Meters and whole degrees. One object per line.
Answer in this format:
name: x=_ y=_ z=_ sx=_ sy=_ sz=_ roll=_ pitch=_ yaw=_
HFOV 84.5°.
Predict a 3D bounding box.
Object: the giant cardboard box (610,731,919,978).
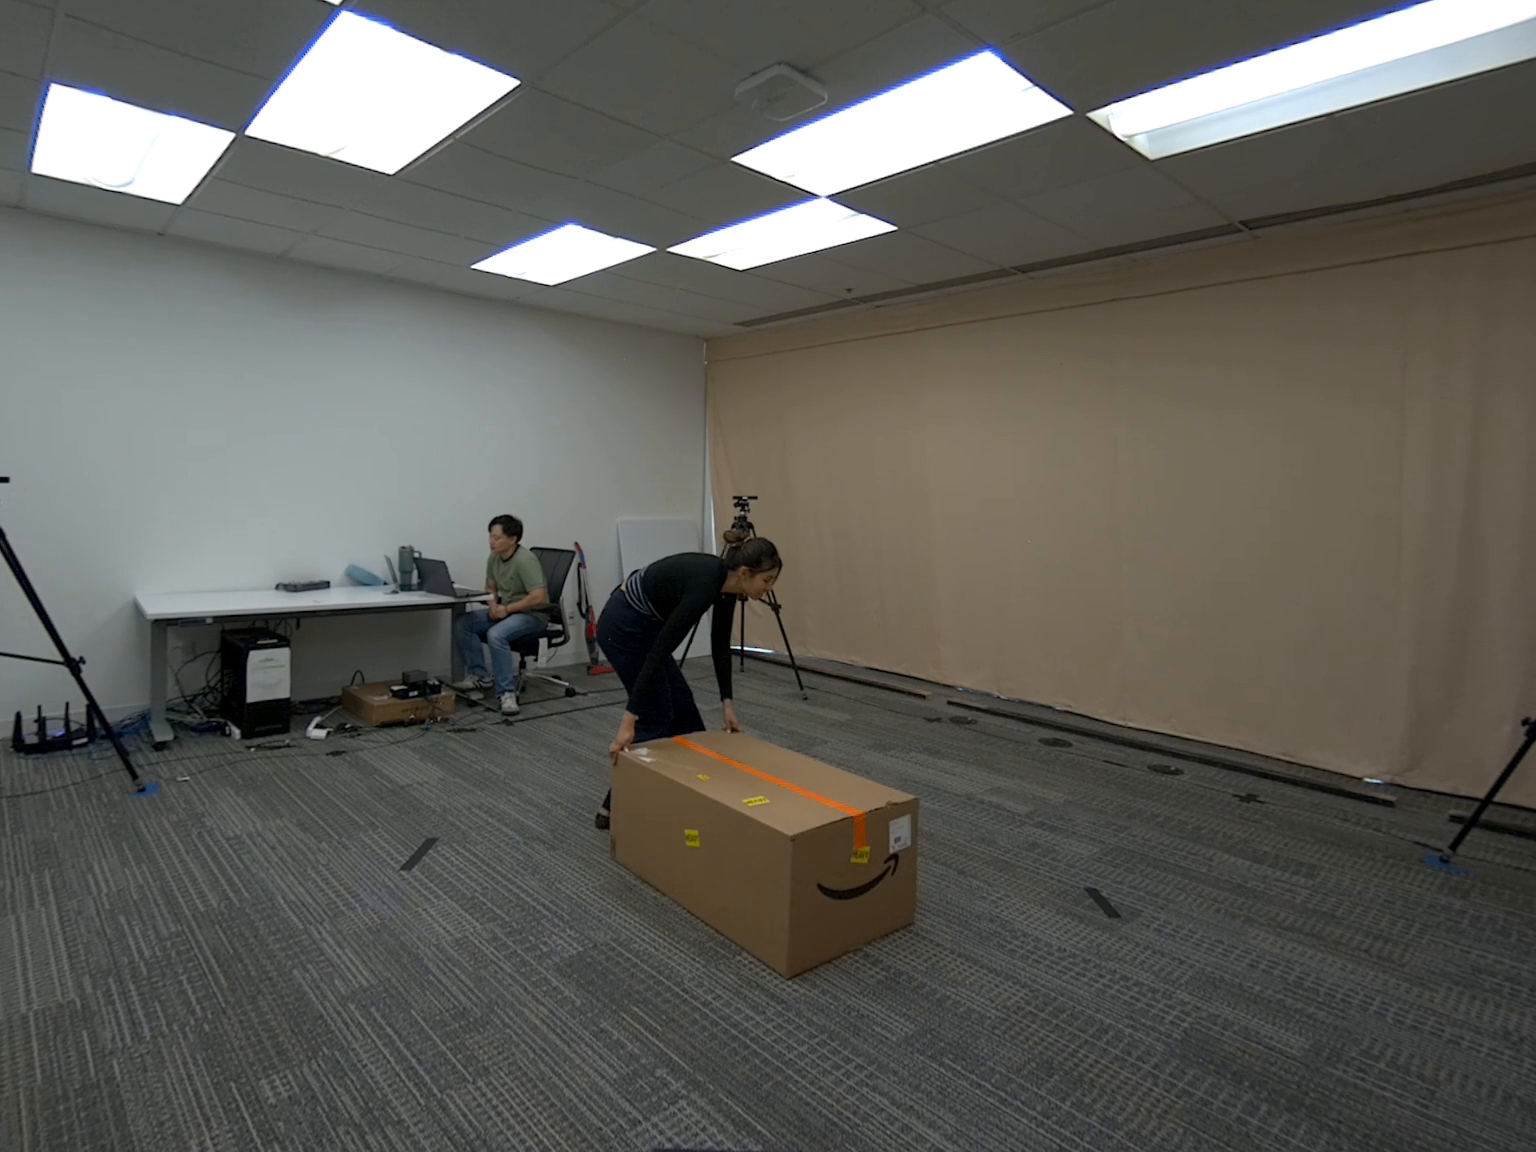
giant cardboard box: x=-0.060 y=0.902 z=2.990 sx=0.564 sy=0.425 sz=1.052 roll=-2 pitch=6 yaw=-39
